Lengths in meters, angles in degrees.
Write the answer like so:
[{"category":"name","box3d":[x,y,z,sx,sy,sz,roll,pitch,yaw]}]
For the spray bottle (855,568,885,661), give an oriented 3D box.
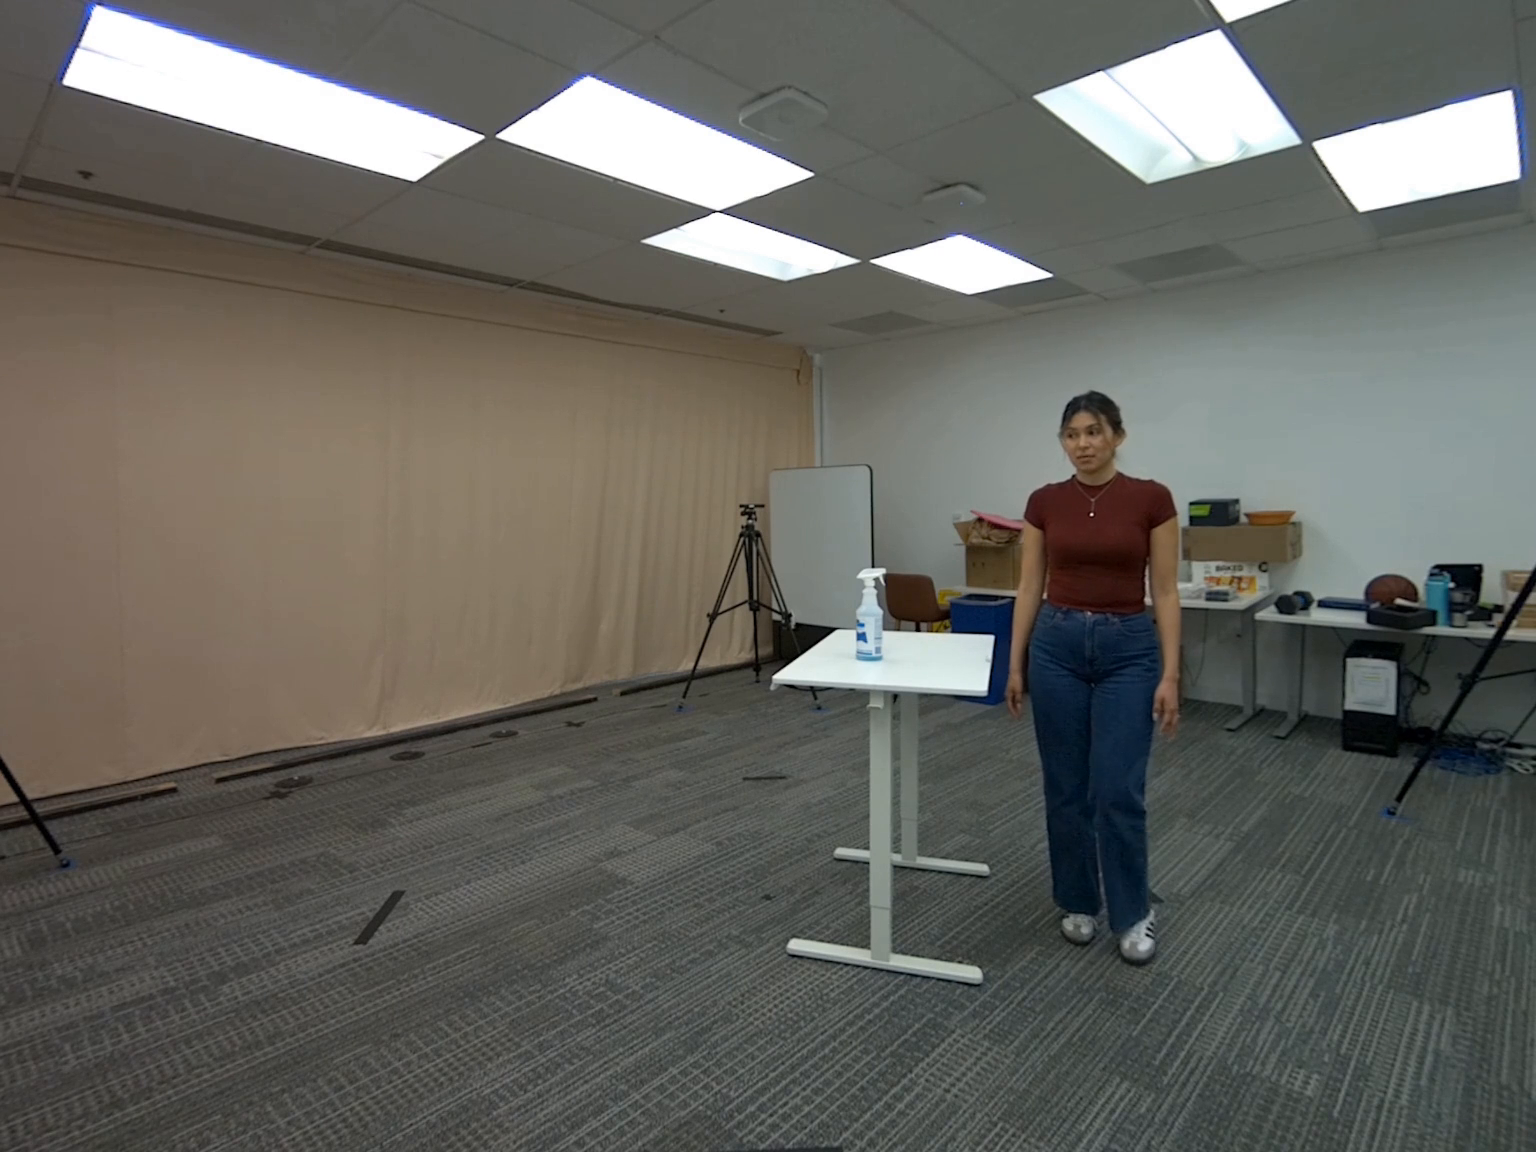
[{"category":"spray bottle","box3d":[0.341,0.128,2.736,0.092,0.296,0.085,4,5,26]}]
